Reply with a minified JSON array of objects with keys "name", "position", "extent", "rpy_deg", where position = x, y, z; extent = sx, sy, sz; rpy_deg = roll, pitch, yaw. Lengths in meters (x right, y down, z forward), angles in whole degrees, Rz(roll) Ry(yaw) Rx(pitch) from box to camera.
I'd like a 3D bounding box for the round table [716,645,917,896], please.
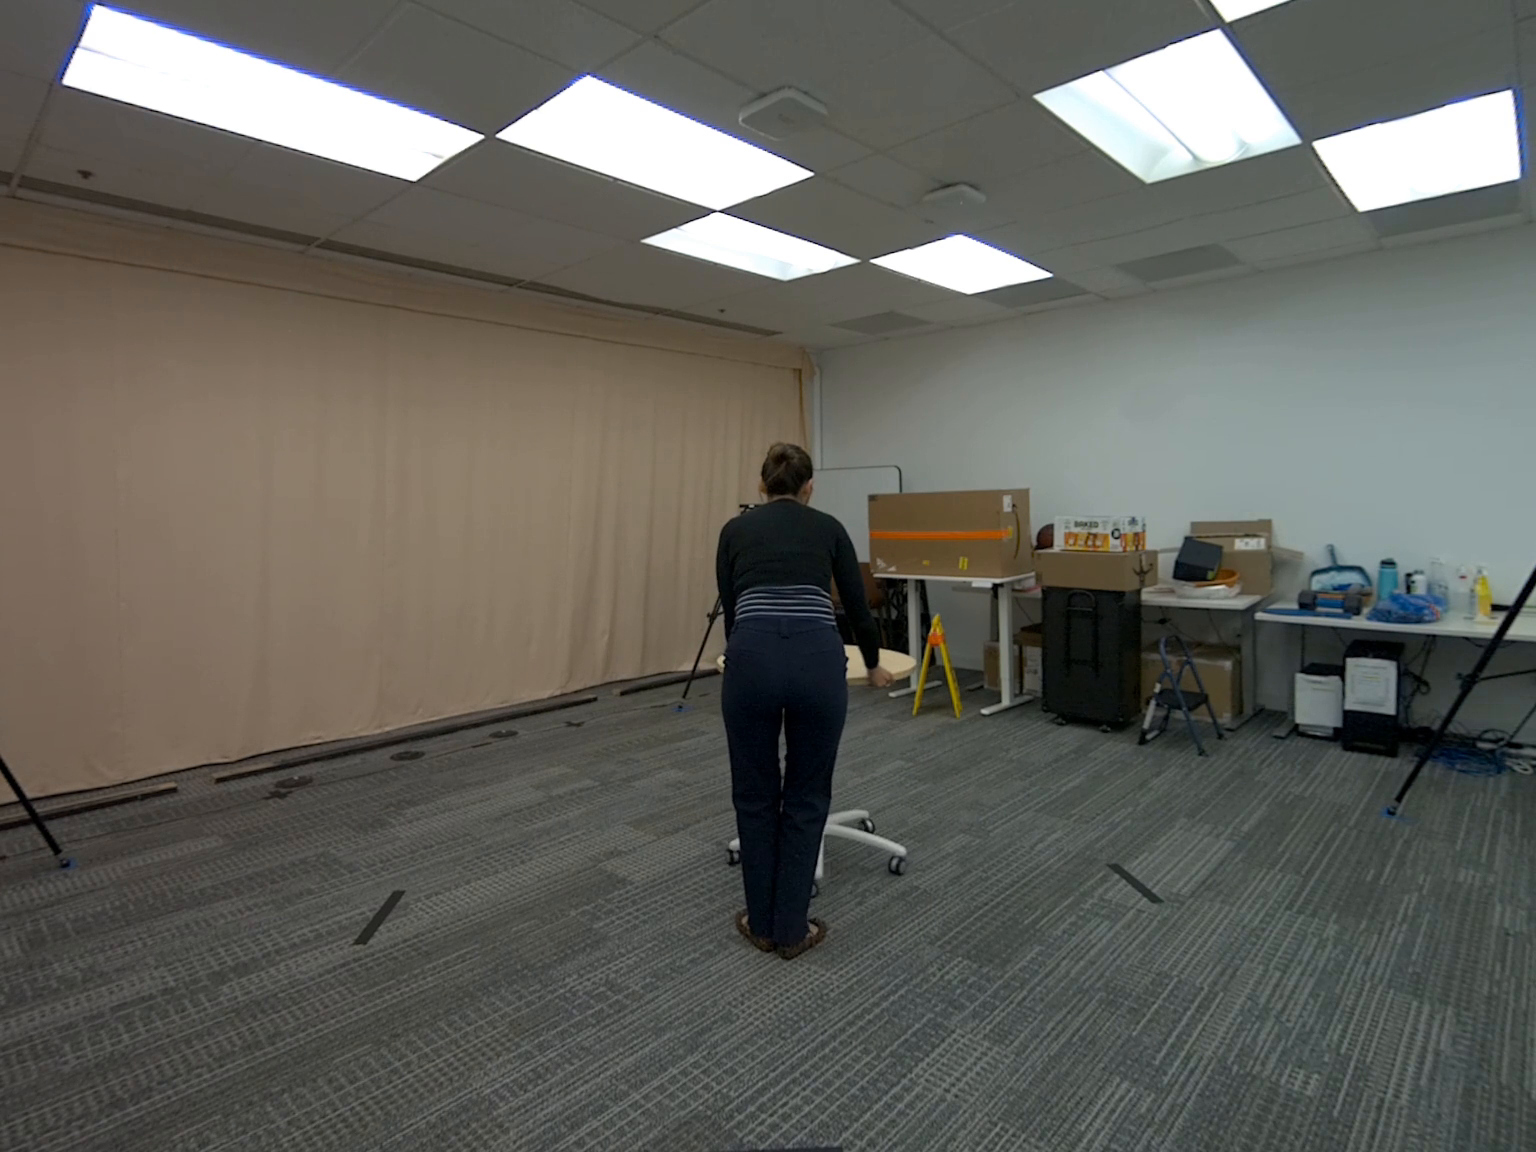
[{"name":"round table","position":[0.197,0.717,3.302],"extent":[0.763,0.792,0.766],"rpy_deg":[0,4,-2]}]
